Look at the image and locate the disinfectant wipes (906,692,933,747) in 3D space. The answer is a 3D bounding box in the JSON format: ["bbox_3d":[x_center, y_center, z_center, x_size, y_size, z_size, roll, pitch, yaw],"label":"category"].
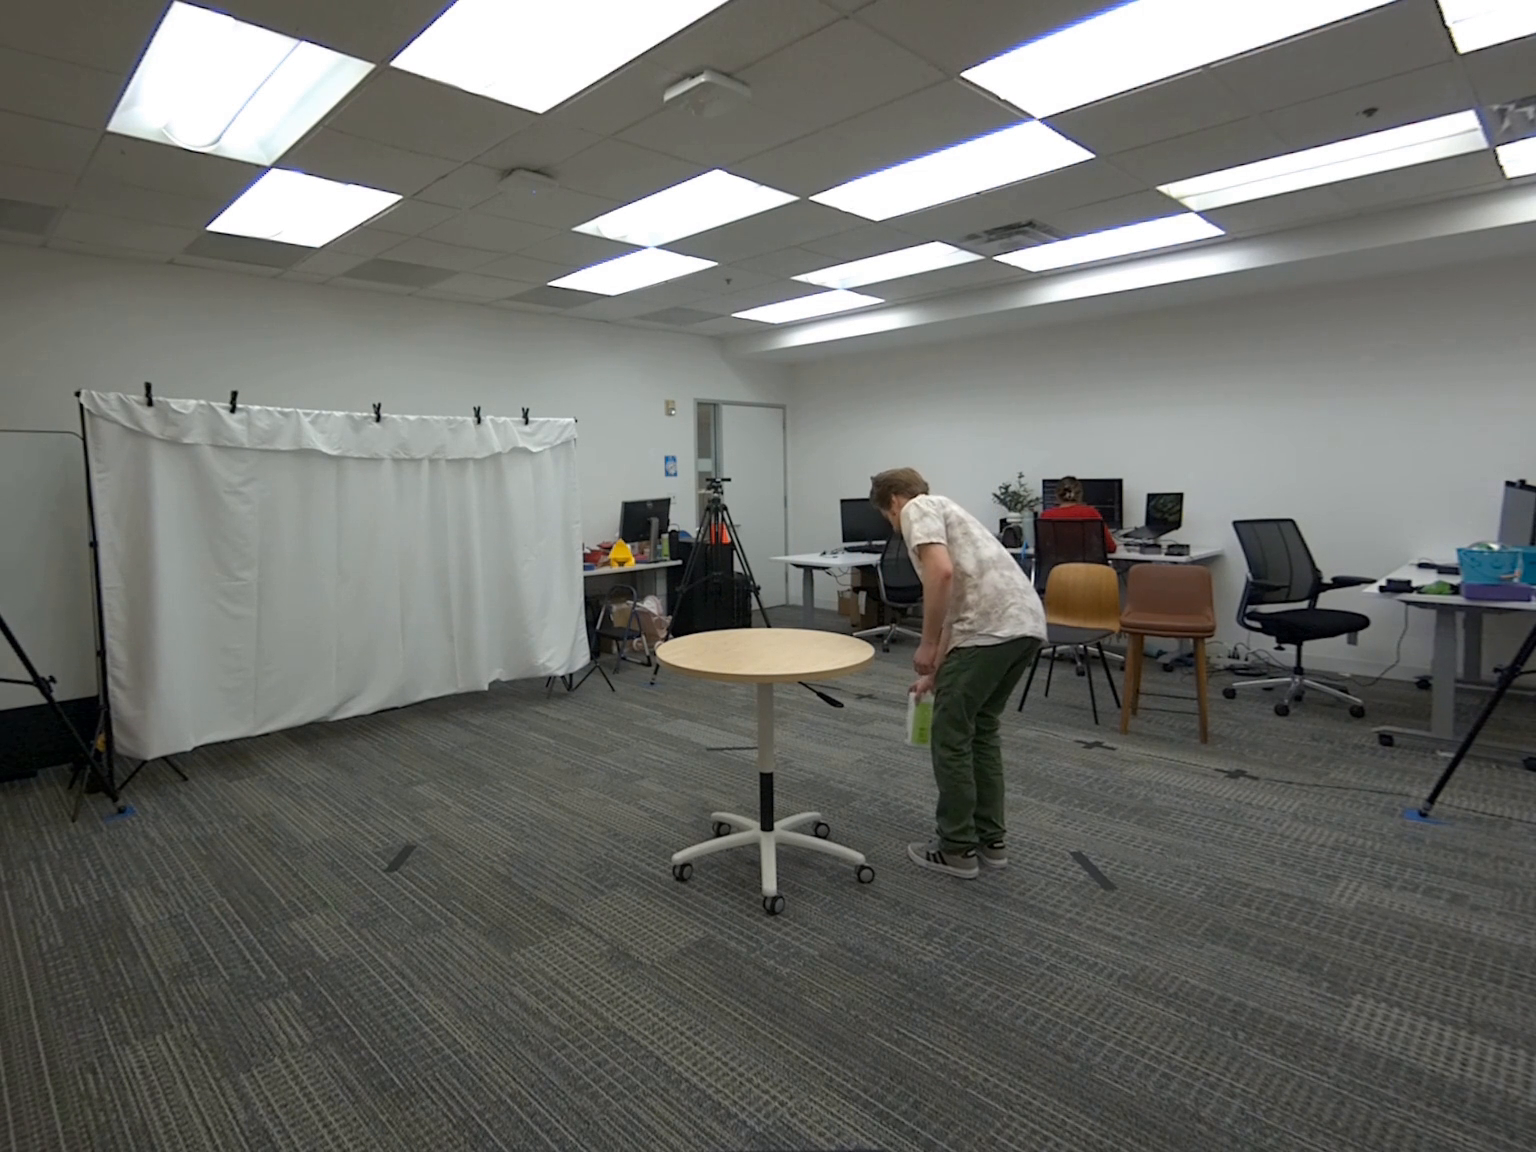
[{"bbox_3d":[0.625,0.589,3.494,0.118,0.217,0.118,3,2,-2],"label":"disinfectant wipes"}]
